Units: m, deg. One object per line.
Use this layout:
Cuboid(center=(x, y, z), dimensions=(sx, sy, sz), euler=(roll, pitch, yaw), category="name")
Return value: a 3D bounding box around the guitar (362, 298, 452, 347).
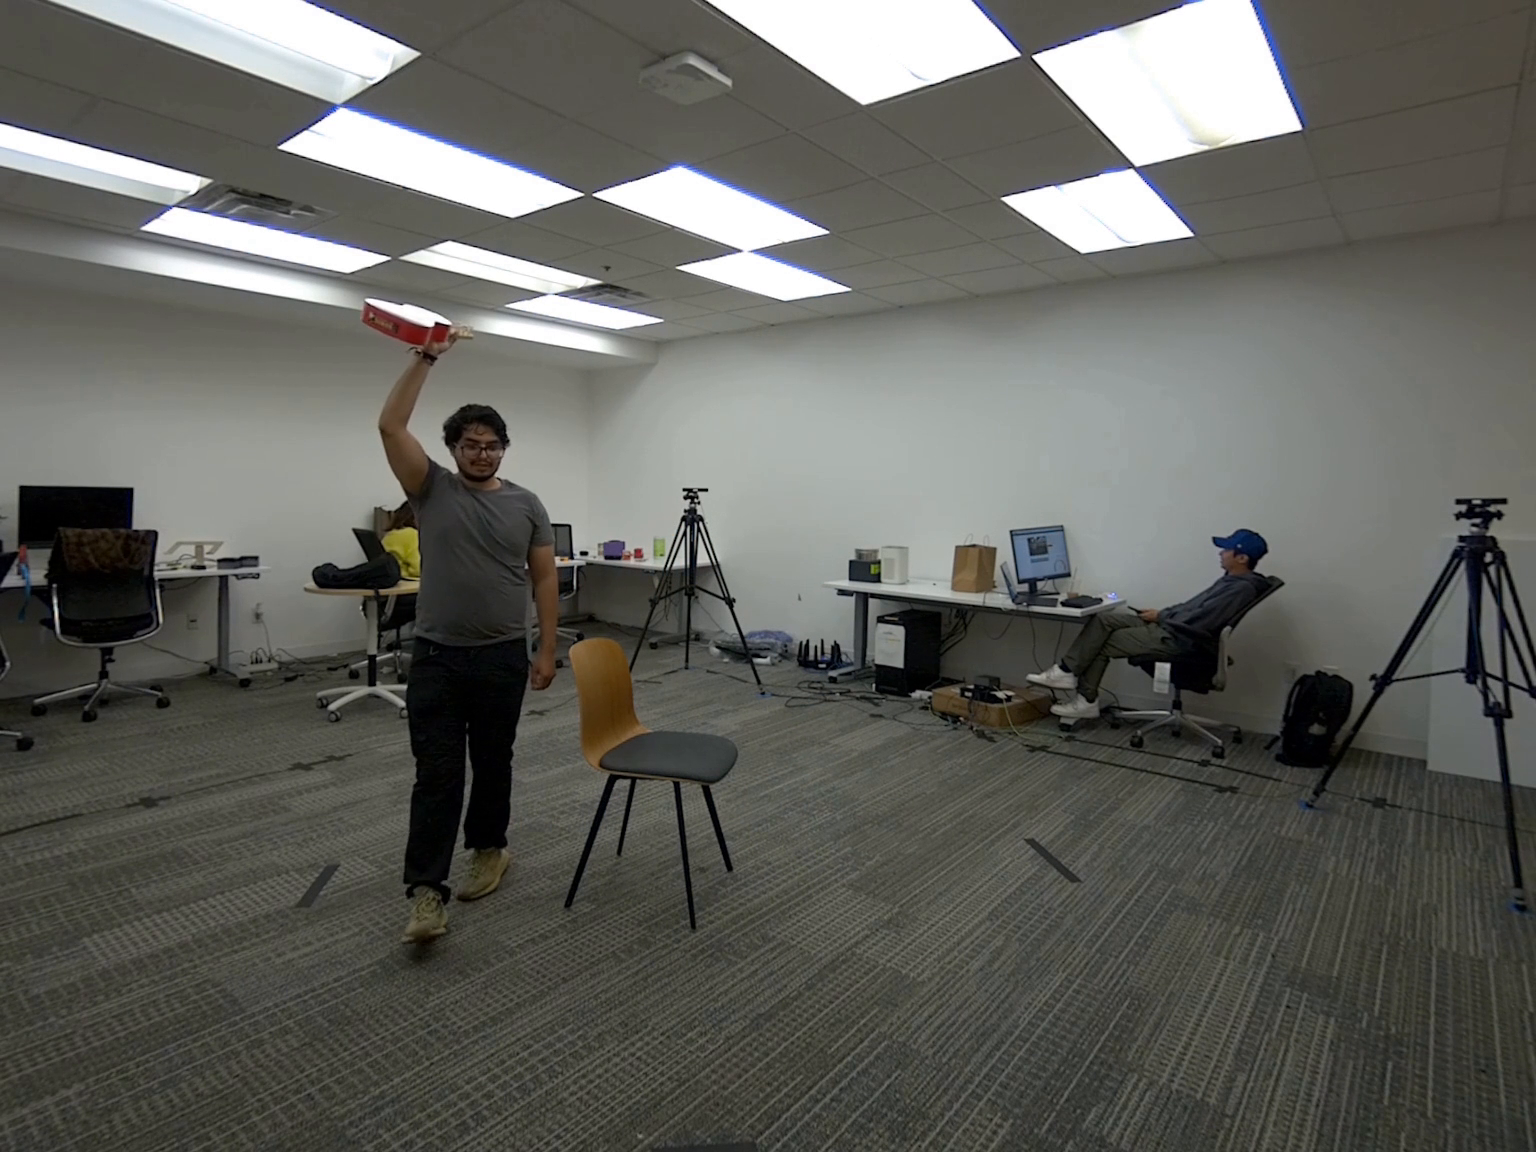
Cuboid(center=(-1.056, -0.765, 2.554), dimensions=(0.192, 0.070, 0.505), euler=(21, 17, -7), category="guitar")
